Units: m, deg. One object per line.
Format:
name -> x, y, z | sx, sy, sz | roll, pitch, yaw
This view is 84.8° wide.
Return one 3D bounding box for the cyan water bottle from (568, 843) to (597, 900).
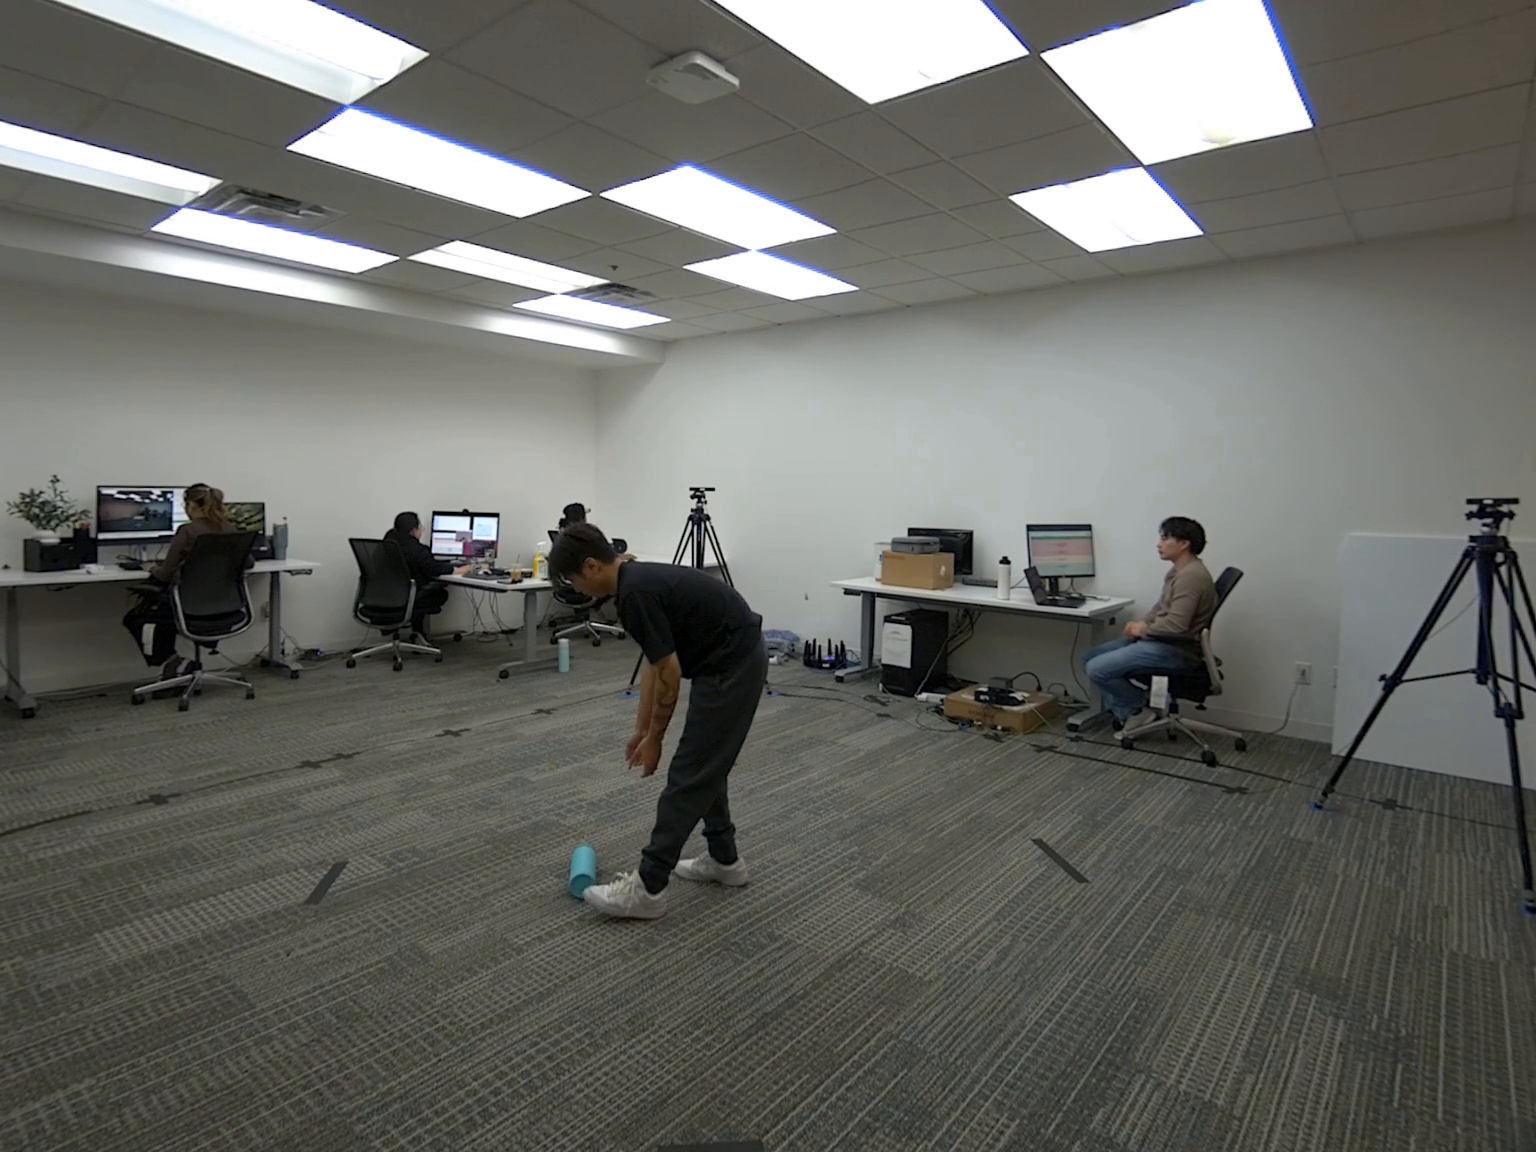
cyan water bottle -> -0.655, 1.020, 2.993 | 0.091, 0.092, 0.286 | 0, 5, -9
